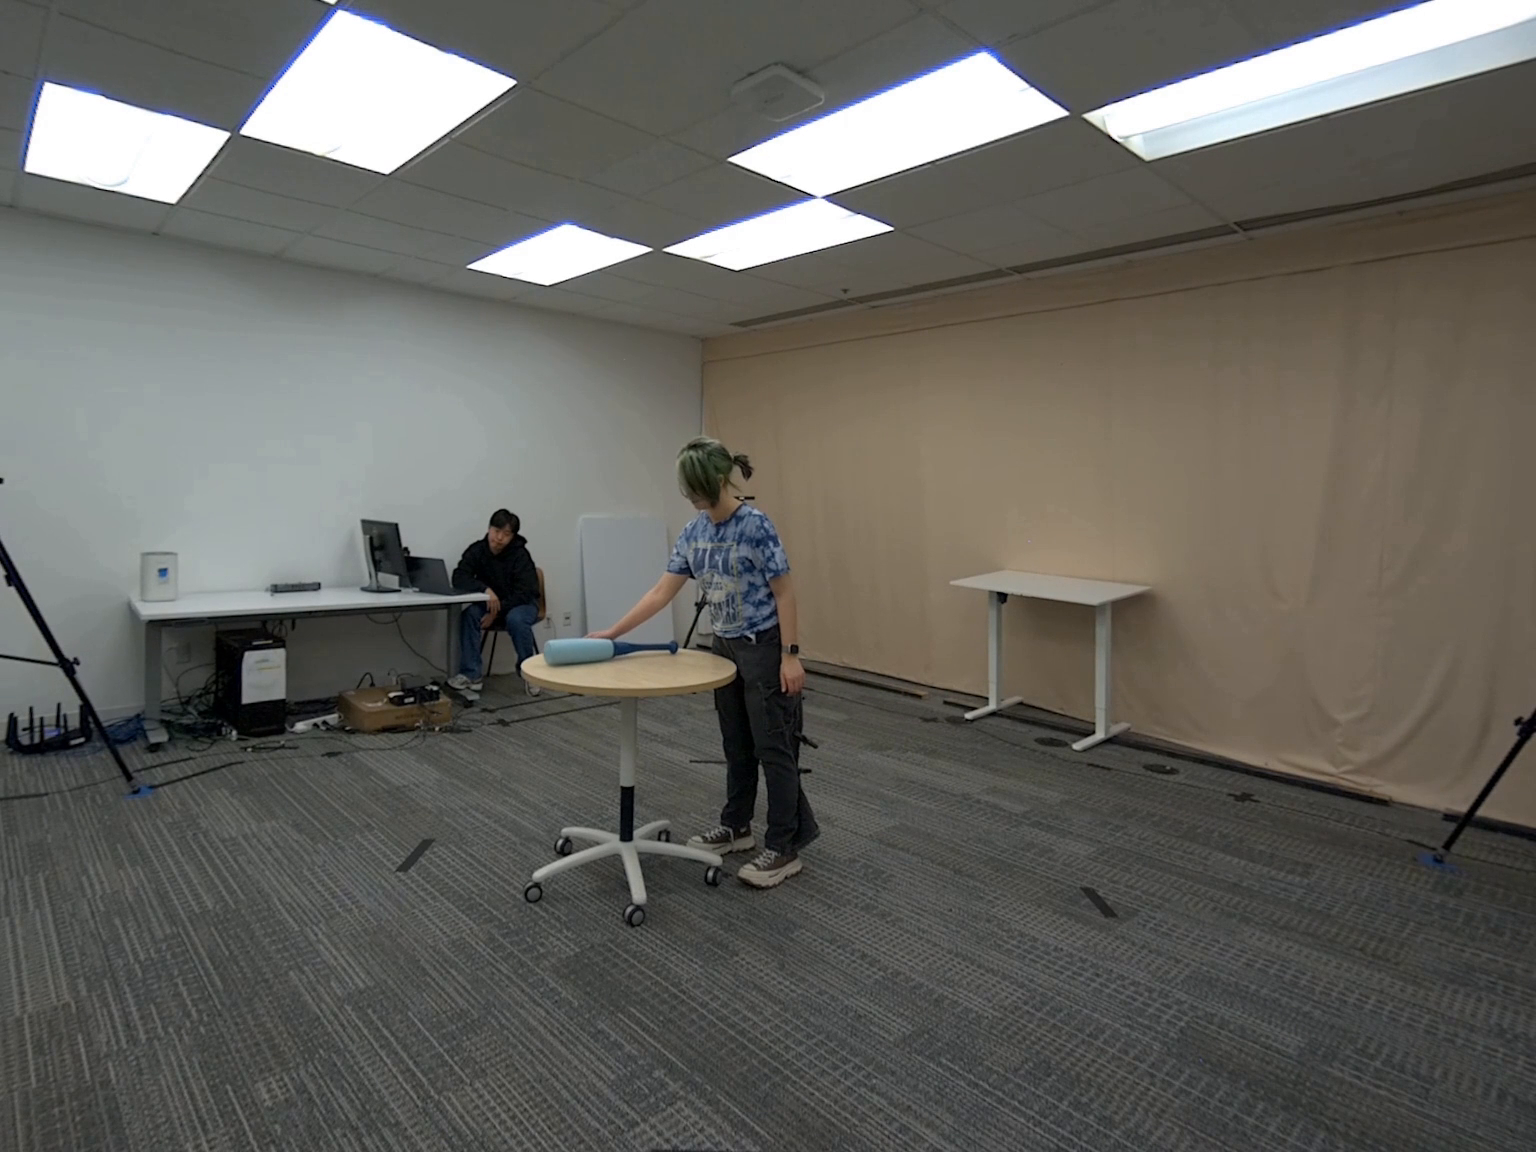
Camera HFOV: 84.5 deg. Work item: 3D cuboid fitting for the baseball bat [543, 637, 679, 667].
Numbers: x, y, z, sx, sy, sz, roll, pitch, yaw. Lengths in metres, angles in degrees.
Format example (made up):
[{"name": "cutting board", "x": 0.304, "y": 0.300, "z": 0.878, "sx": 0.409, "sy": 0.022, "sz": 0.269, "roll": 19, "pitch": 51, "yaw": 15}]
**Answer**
[{"name": "baseball bat", "x": -0.584, "y": 0.277, "z": 3.103, "sx": 0.530, "sy": 0.089, "sz": 0.091, "roll": 2, "pitch": 3, "yaw": -39}]
